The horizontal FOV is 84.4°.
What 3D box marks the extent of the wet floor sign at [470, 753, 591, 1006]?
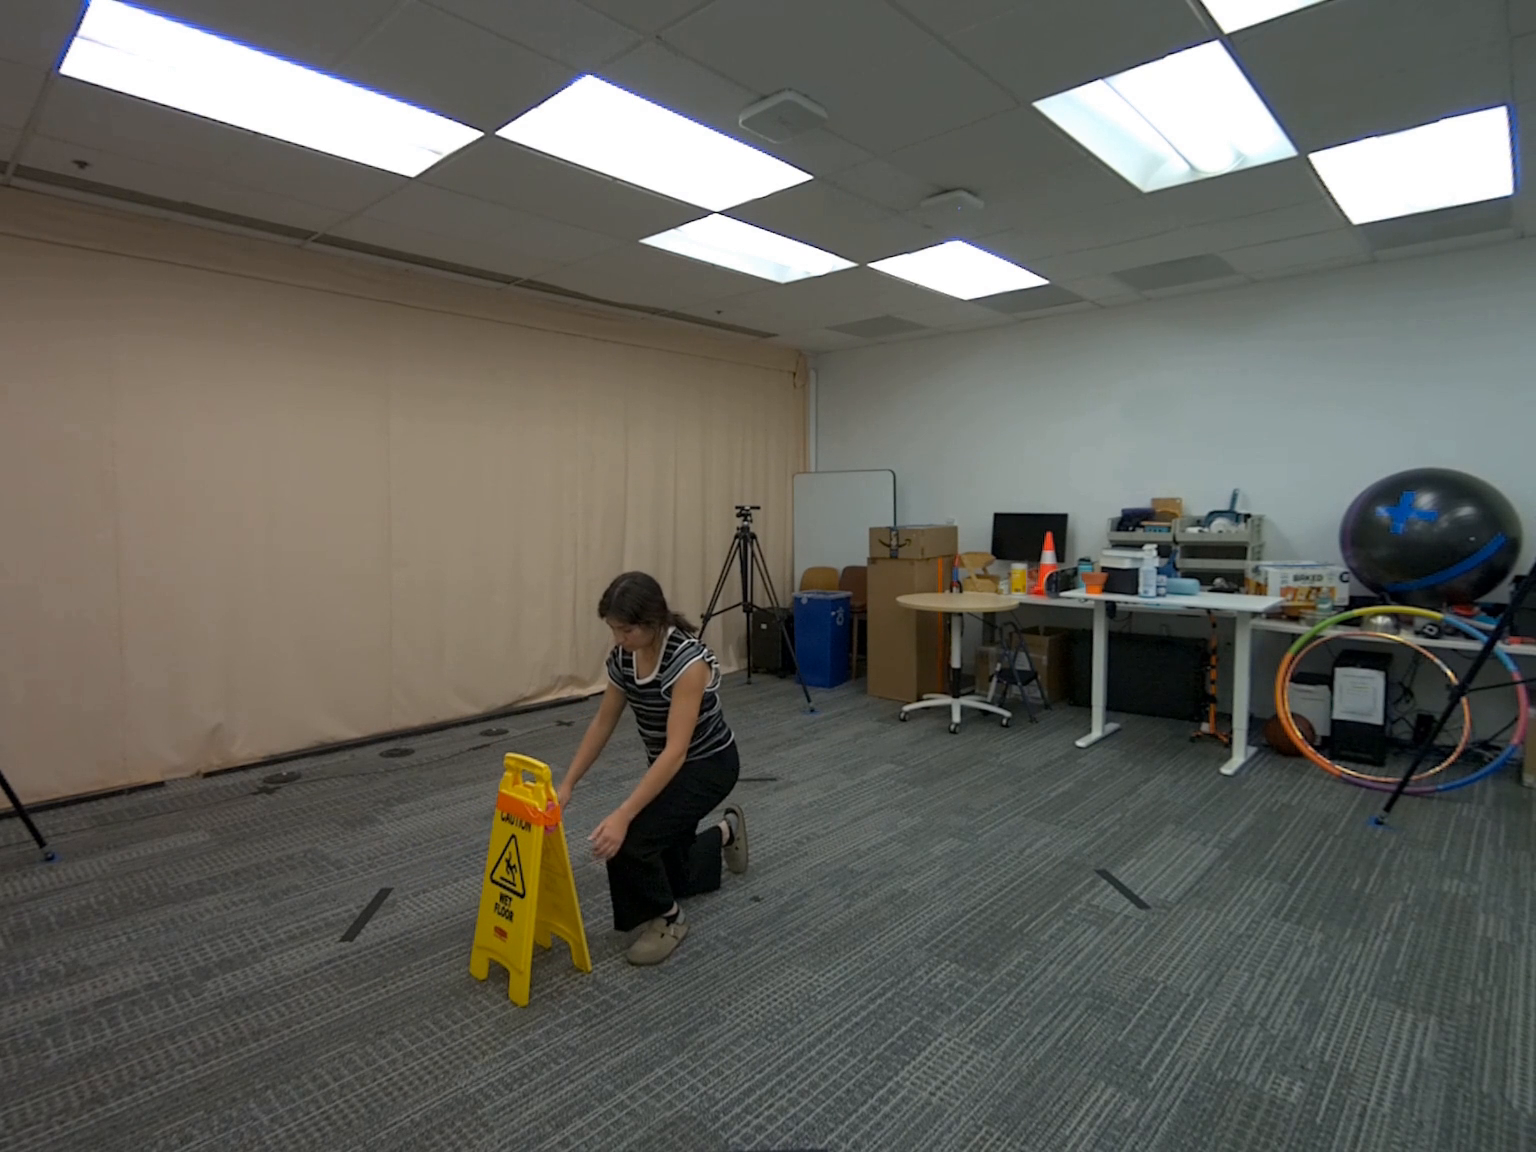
[{"bbox_3d":[-0.711,0.870,2.505,0.291,0.644,0.281,2,5,40],"label":"wet floor sign"}]
